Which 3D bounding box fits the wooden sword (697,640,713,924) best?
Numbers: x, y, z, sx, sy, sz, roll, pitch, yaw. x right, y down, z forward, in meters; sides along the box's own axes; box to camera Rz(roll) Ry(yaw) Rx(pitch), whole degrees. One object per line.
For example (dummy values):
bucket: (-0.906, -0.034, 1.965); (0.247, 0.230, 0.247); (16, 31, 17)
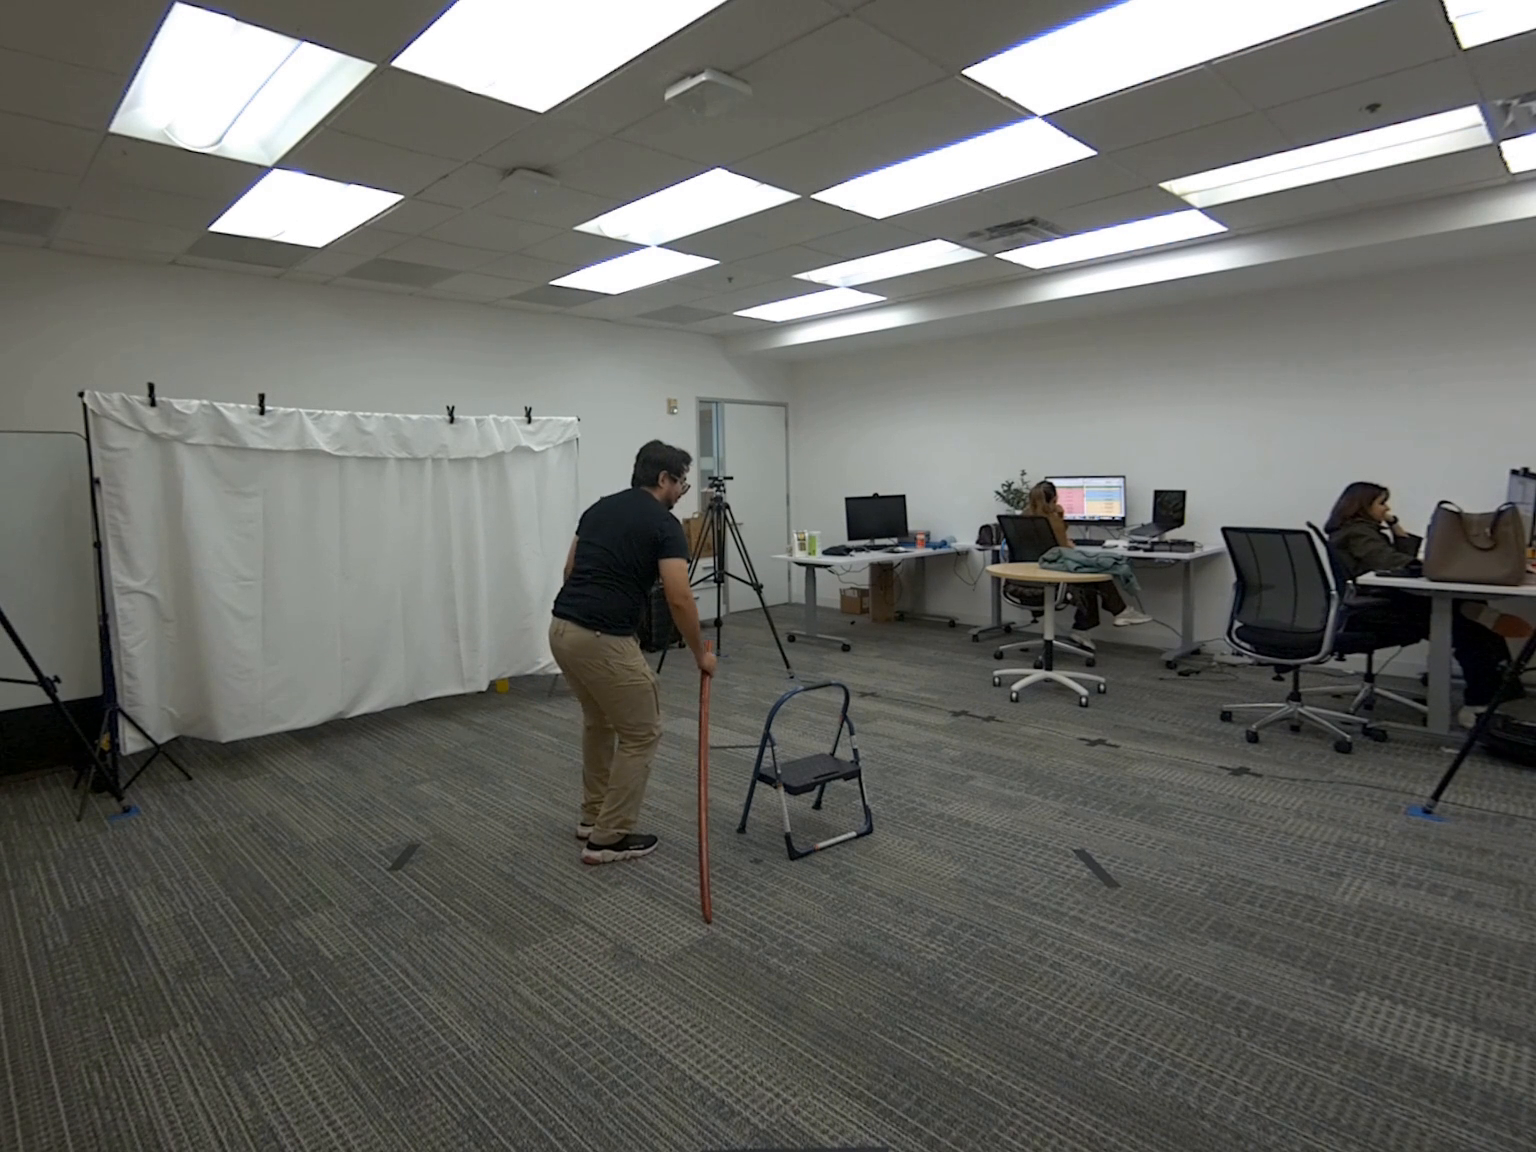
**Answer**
wooden sword: (-0.220, 0.689, 2.983); (0.024, 1.054, 0.050); (-3, -38, -2)
